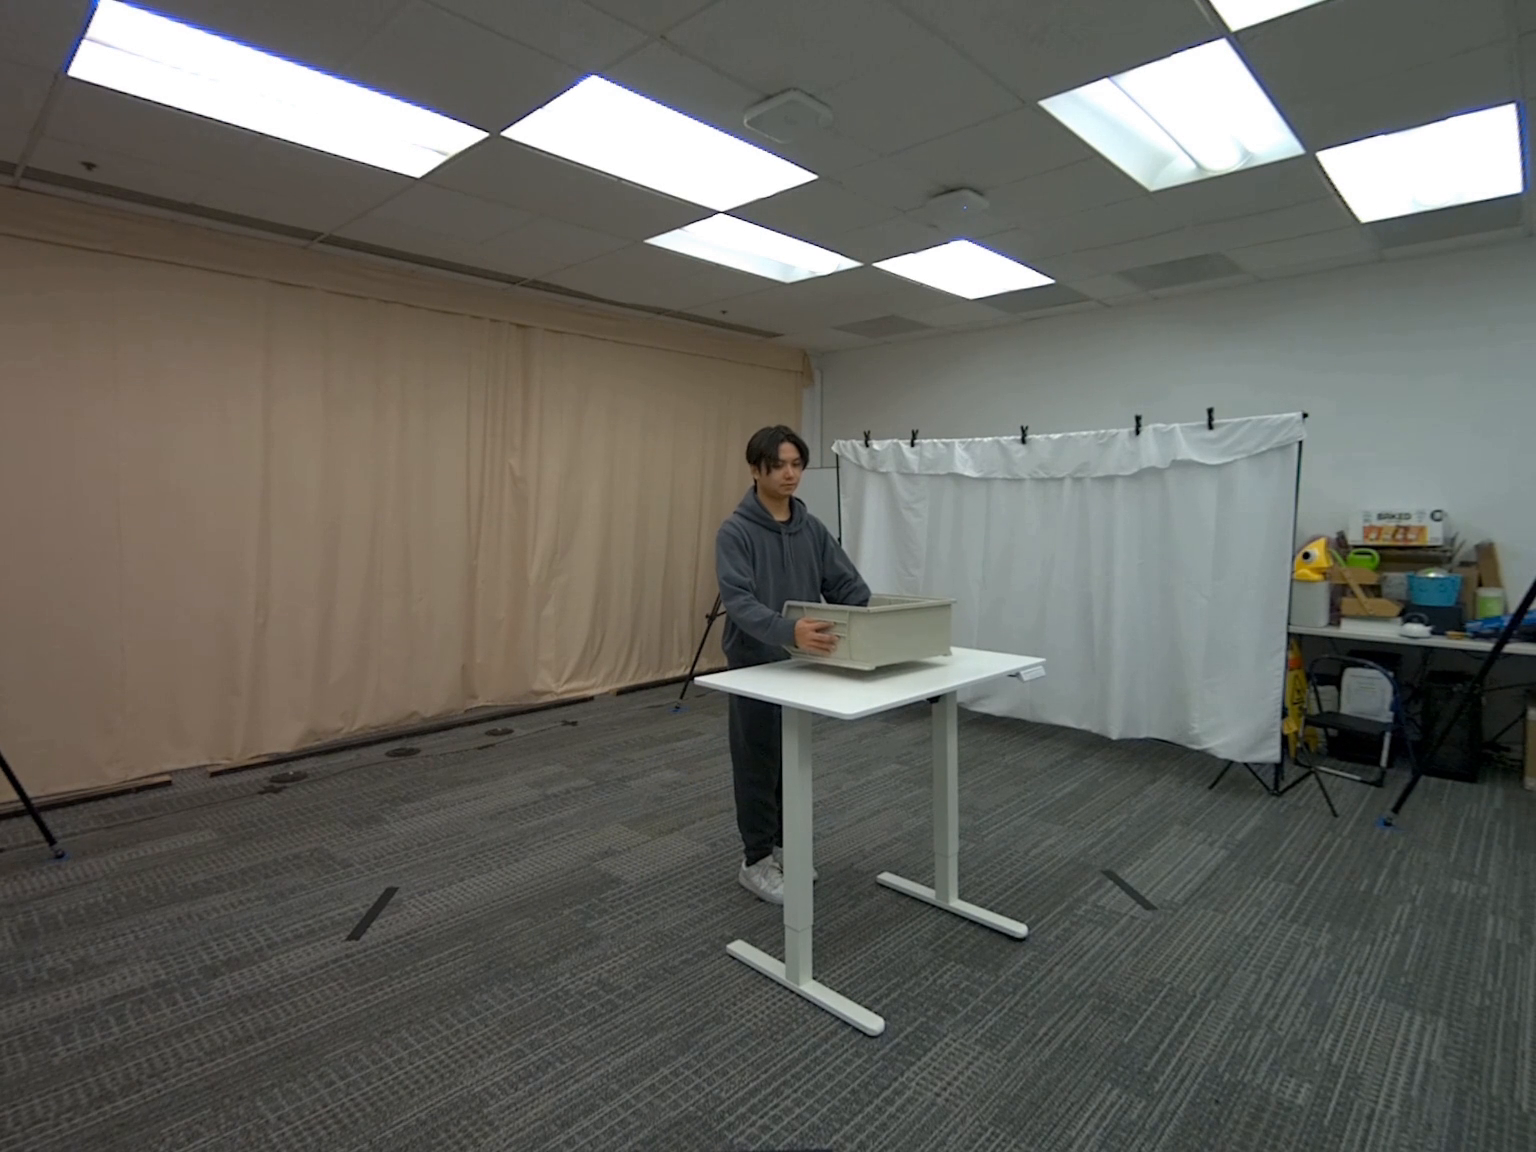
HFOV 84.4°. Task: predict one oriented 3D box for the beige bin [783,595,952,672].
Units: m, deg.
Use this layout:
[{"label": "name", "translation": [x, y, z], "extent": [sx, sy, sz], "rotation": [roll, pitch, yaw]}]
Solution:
[{"label": "beige bin", "translation": [0.323, 0.171, 2.648], "extent": [0.409, 0.189, 0.390], "rotation": [-2, 4, -40]}]
